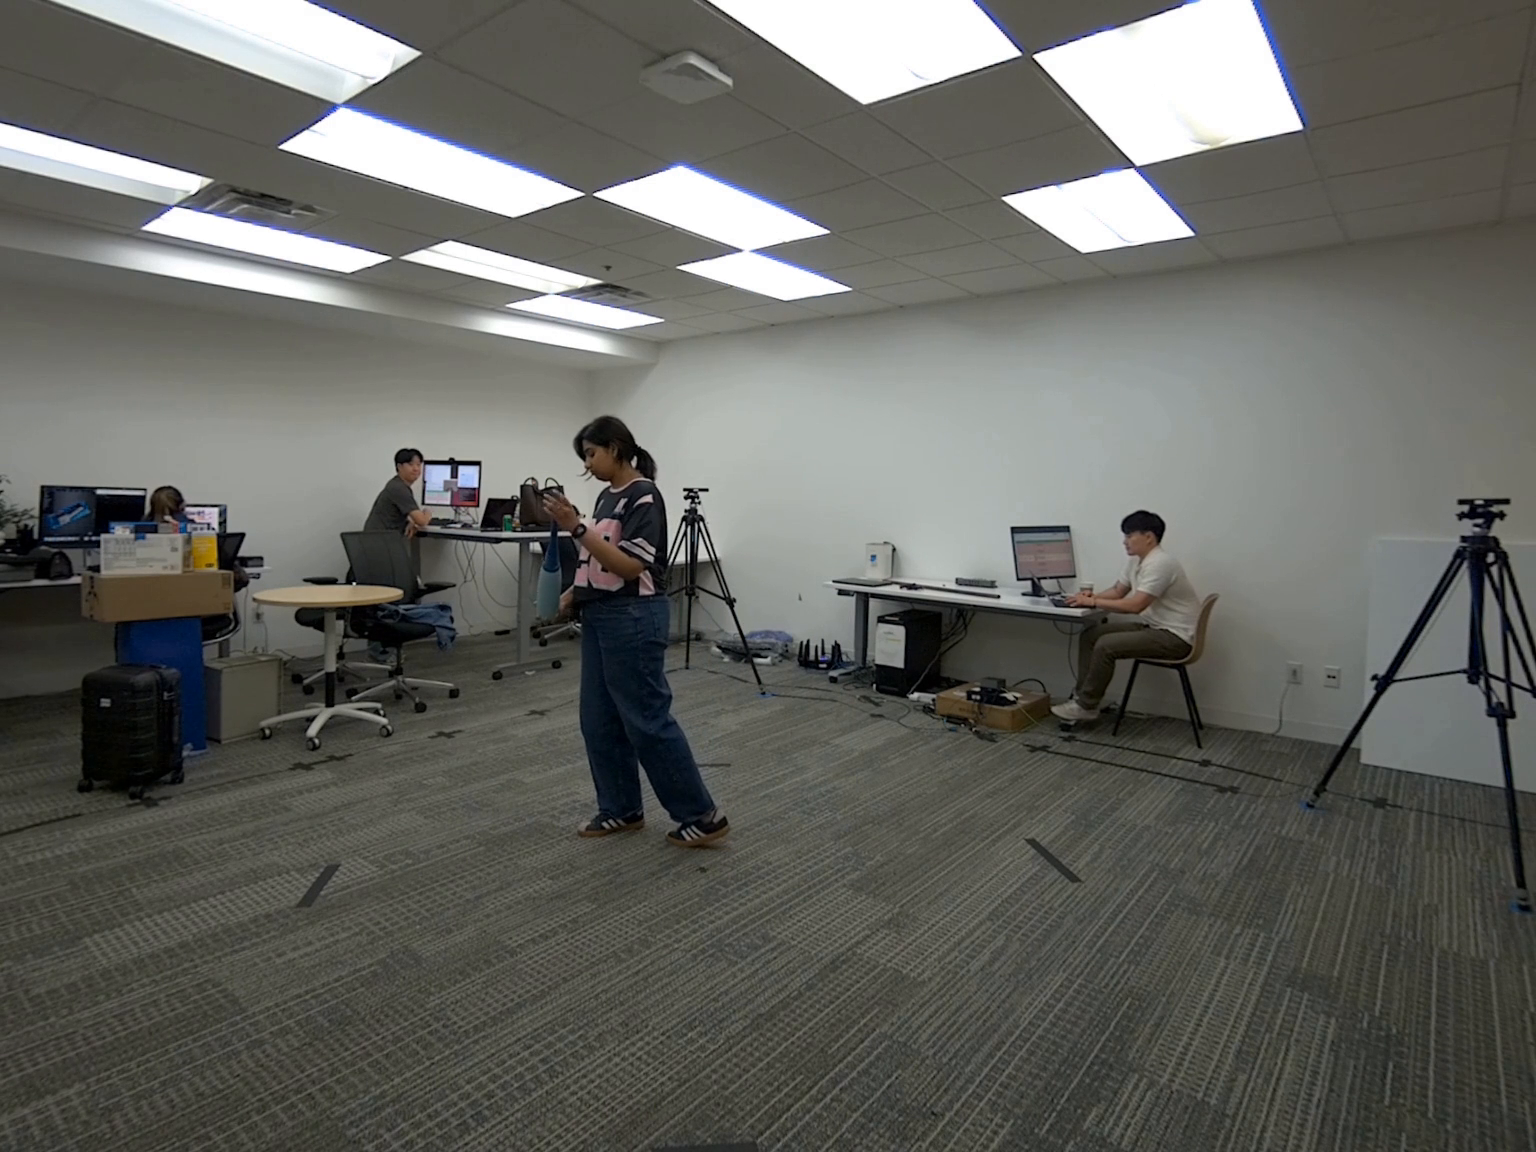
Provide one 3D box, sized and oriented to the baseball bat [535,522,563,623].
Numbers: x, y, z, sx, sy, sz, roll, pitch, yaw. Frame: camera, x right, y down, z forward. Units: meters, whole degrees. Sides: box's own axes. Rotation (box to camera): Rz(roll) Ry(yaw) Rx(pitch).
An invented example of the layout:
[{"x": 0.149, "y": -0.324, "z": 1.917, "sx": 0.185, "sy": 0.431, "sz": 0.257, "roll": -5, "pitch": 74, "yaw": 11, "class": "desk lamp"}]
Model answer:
[{"x": -0.822, "y": -0.051, "z": 3.201, "sx": 0.088, "sy": 0.534, "sz": 0.091, "roll": 11, "pitch": 35, "yaw": -10, "class": "baseball bat"}]
